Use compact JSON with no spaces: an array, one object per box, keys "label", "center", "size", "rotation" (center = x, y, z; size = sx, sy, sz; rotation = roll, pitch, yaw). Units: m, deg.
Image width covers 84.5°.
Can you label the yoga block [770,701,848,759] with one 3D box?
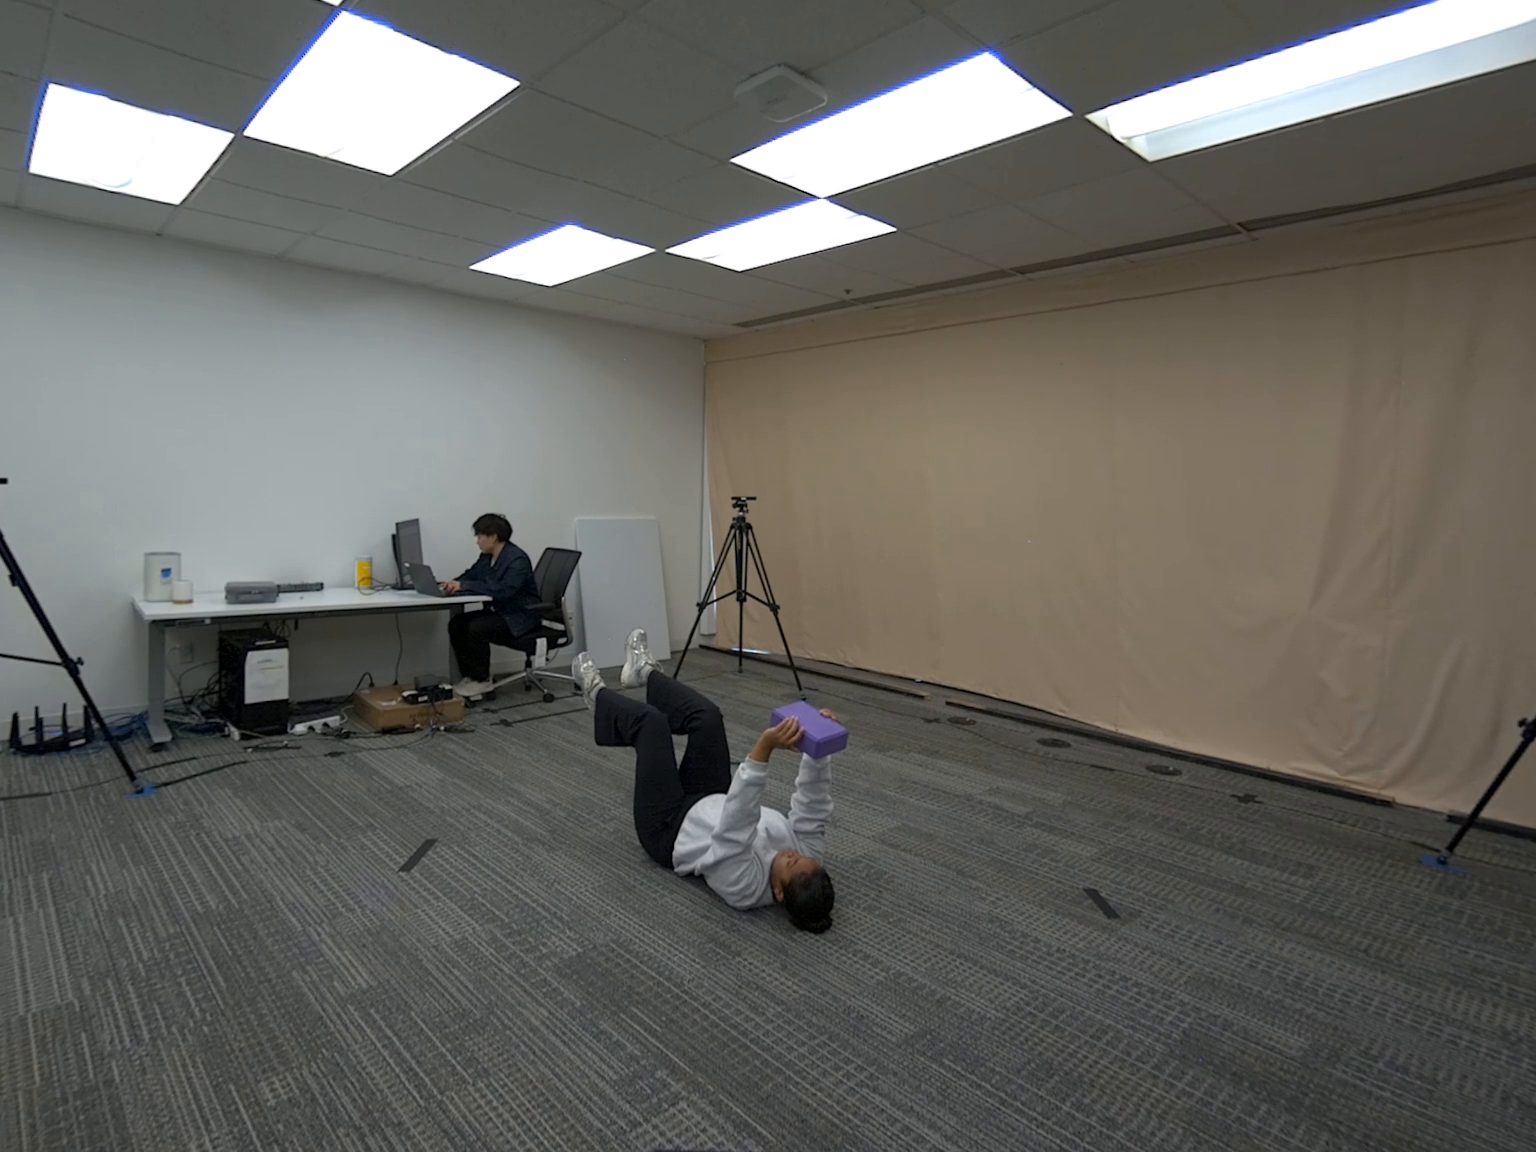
[{"label":"yoga block","center":[0.130,0.508,2.773],"size":[0.146,0.075,0.236],"rotation":[-11,24,-40]}]
